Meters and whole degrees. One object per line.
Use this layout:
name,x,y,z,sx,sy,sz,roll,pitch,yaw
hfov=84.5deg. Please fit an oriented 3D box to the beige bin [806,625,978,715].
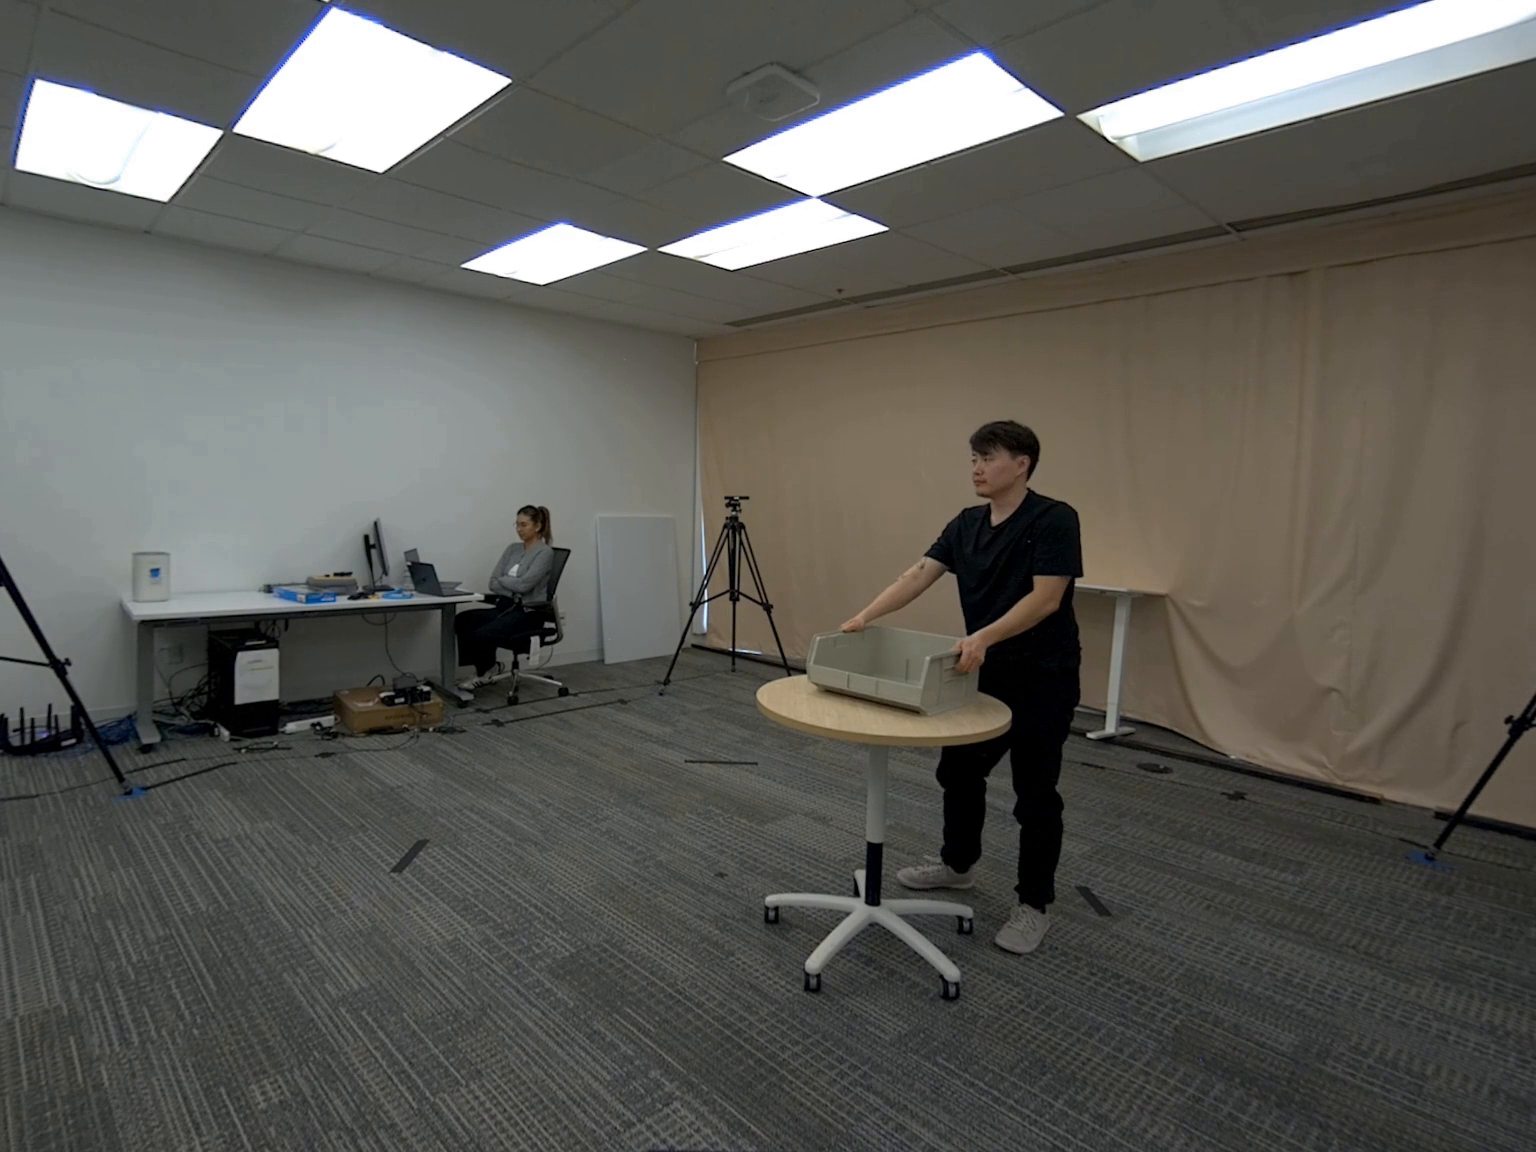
beige bin,0.397,0.290,2.638,0.433,0.188,0.368,7,6,42
